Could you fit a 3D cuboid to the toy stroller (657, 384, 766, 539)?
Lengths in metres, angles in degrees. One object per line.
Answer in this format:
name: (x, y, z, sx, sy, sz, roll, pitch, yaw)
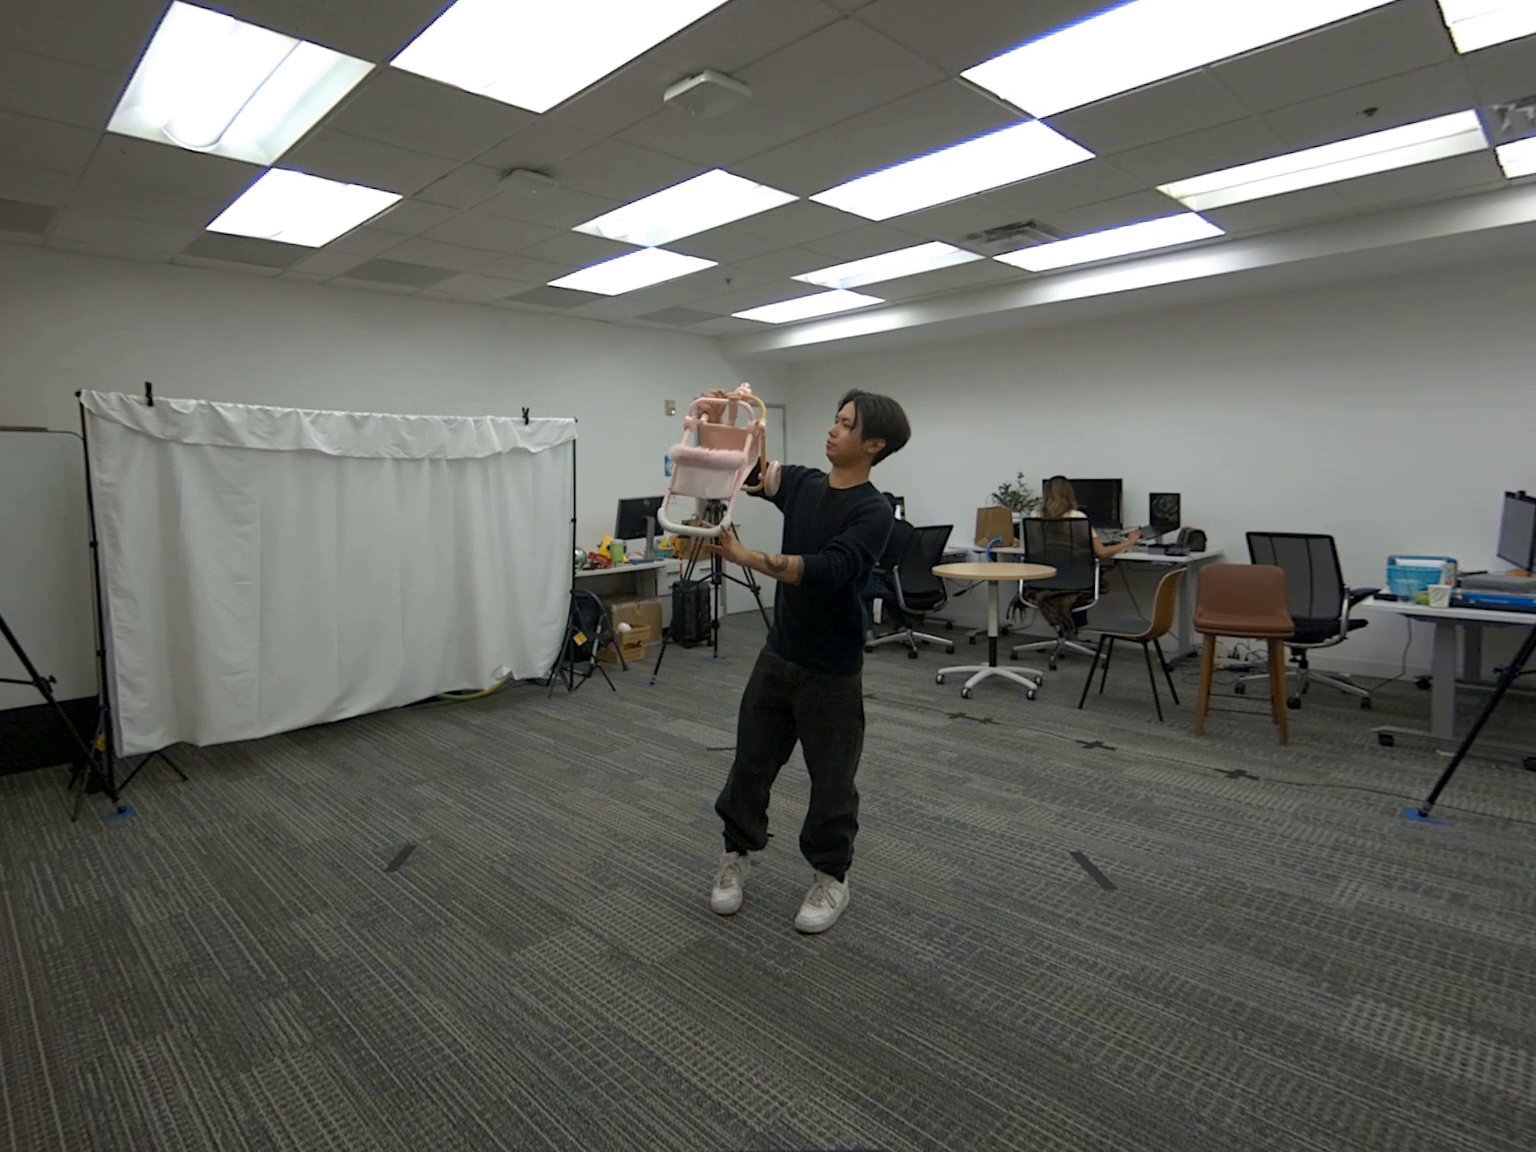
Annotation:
toy stroller: (-0.137, -0.359, 2.486, 0.286, 0.335, 0.536, 11, 23, 12)
